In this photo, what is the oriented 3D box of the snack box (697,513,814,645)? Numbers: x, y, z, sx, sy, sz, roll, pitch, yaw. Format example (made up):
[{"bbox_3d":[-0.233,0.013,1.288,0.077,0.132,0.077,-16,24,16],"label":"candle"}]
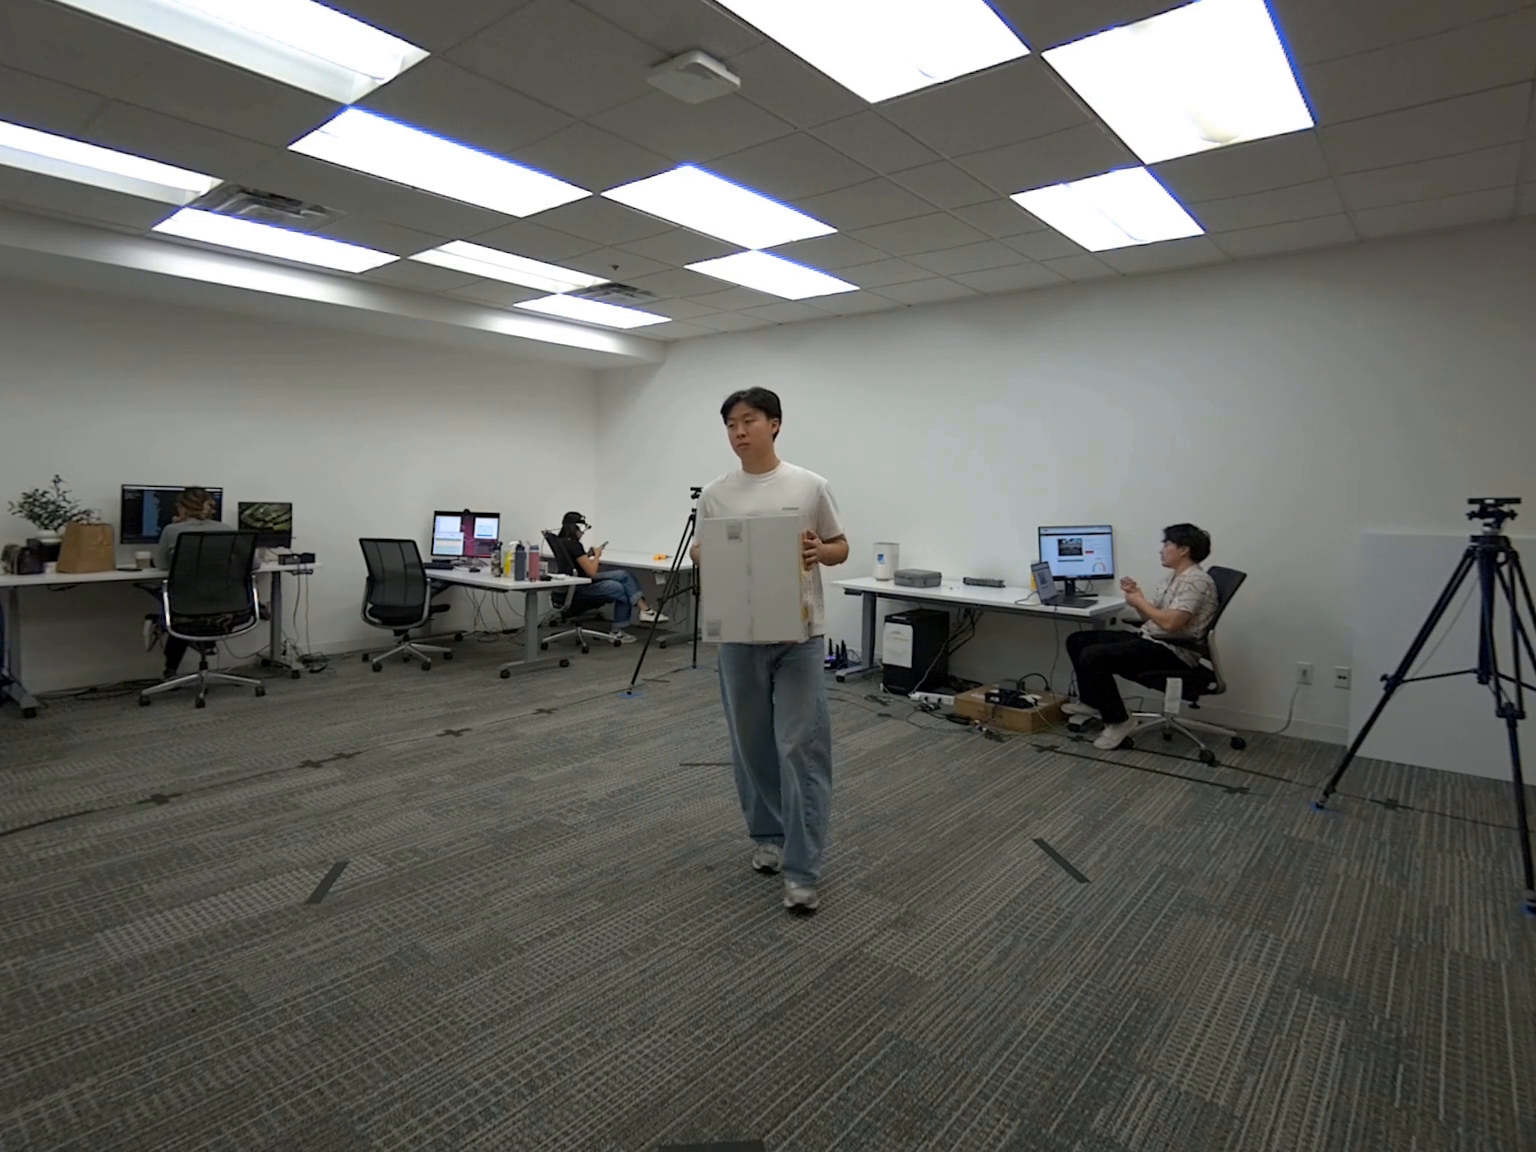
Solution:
[{"bbox_3d":[-0.046,-0.001,2.815,0.345,0.405,0.203,-3,2,15],"label":"snack box"}]
